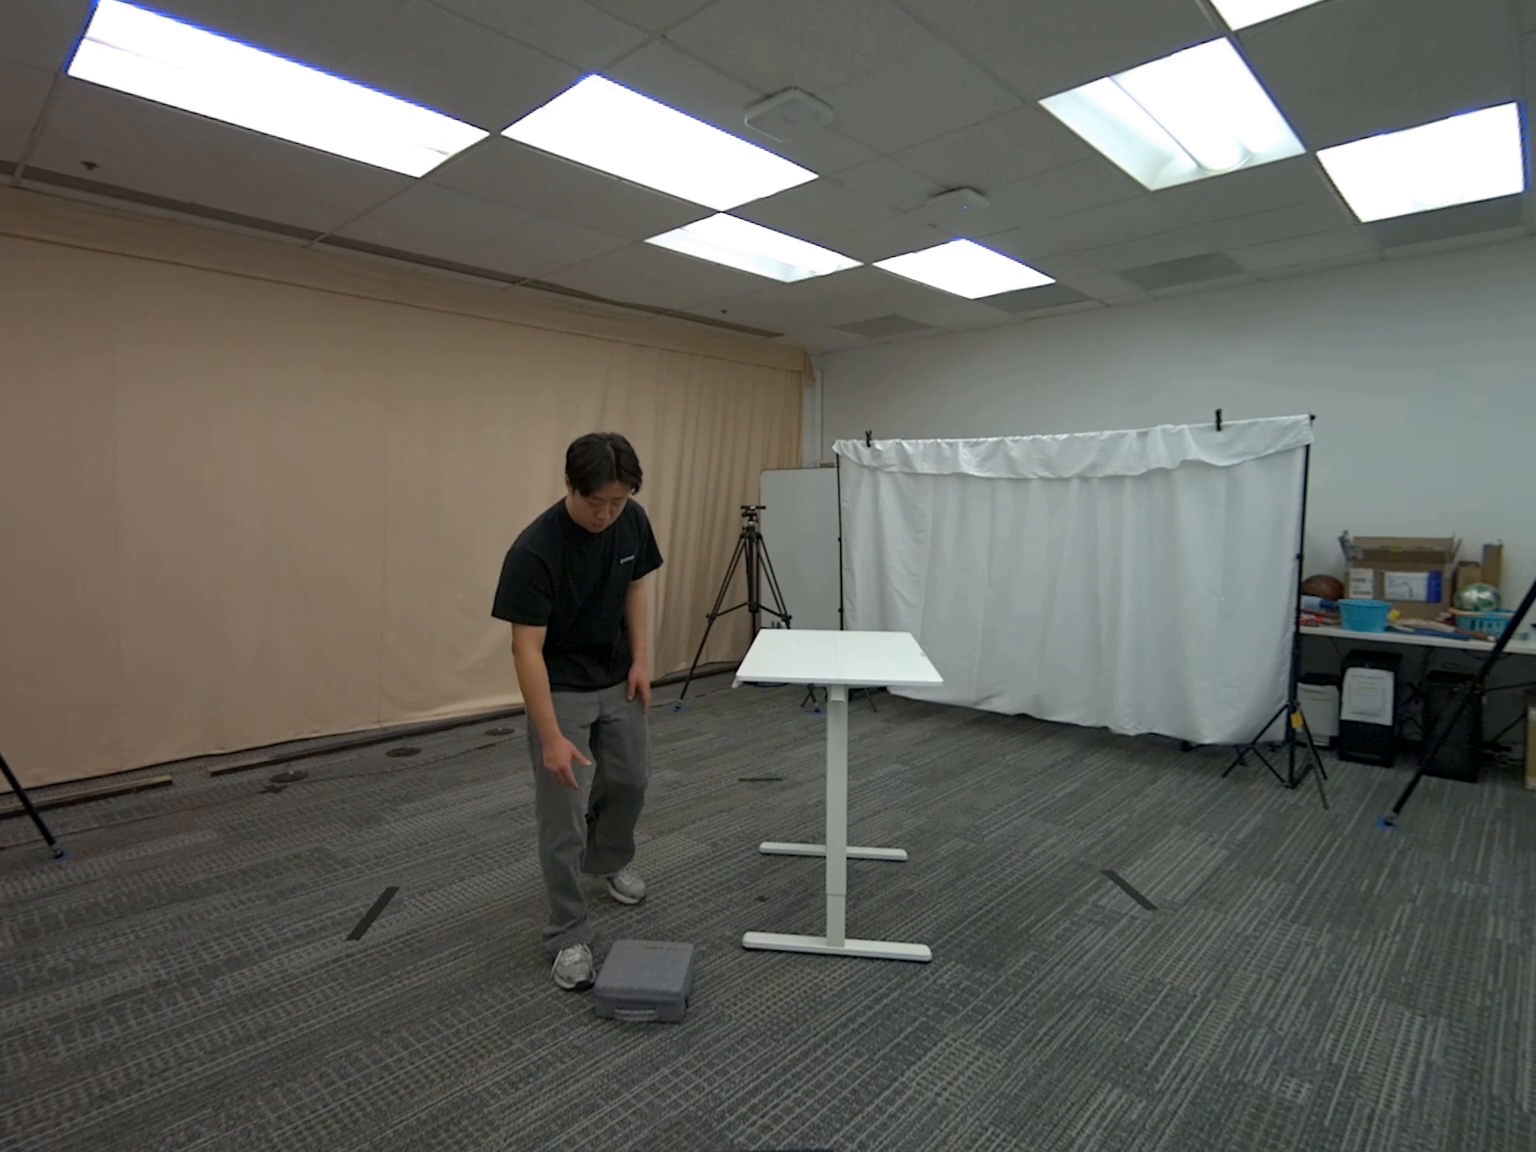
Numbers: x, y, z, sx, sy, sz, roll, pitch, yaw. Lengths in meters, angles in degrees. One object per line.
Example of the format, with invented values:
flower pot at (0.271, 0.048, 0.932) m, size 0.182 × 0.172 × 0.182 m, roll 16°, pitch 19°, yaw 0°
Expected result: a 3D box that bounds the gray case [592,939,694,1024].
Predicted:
gray case at (-0.341, 1.145, 2.370) m, size 0.265 × 0.103 × 0.286 m, roll 1°, pitch 5°, yaw 6°
